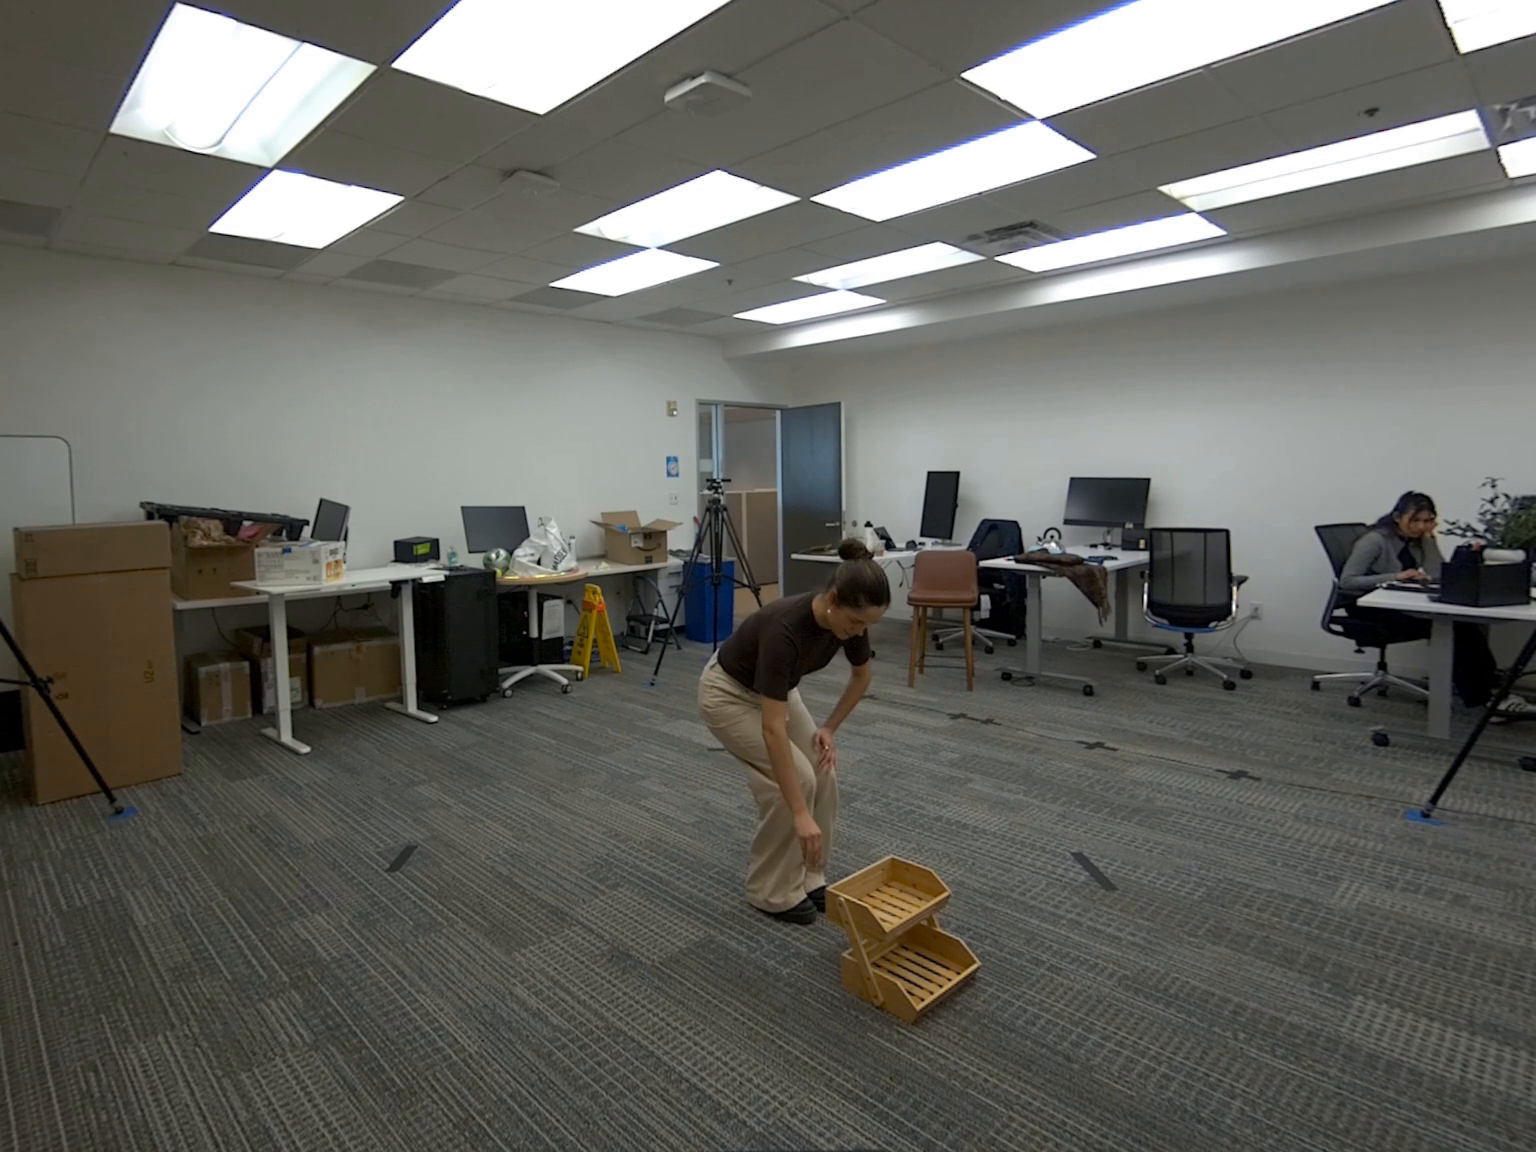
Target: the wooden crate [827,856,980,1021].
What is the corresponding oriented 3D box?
[{"bbox_3d":[0.384,0.992,2.362,0.316,0.272,0.311,-7,7,-44],"label":"wooden crate"}]
